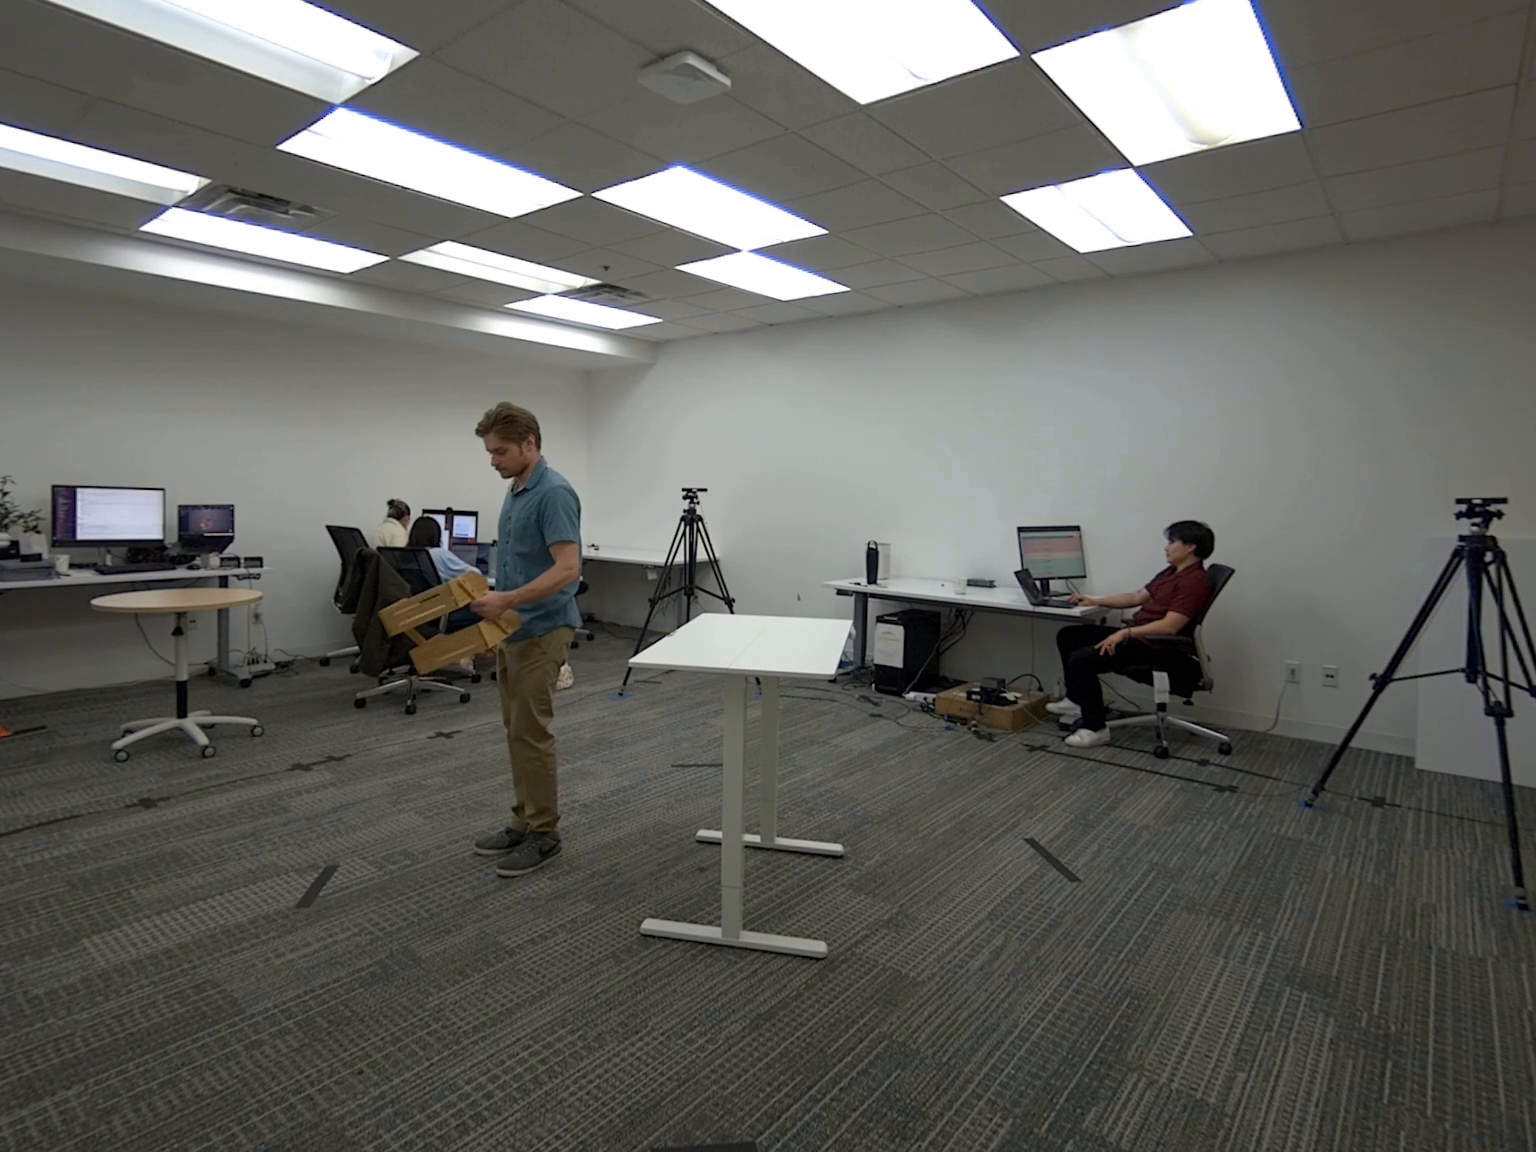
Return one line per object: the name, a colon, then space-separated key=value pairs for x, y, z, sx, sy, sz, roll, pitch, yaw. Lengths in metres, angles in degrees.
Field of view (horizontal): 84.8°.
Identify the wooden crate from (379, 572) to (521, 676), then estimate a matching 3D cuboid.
wooden crate: x=-1.107 y=0.141 z=2.940 sx=0.327 sy=0.270 sz=0.302 roll=-20 pitch=9 yaw=14
